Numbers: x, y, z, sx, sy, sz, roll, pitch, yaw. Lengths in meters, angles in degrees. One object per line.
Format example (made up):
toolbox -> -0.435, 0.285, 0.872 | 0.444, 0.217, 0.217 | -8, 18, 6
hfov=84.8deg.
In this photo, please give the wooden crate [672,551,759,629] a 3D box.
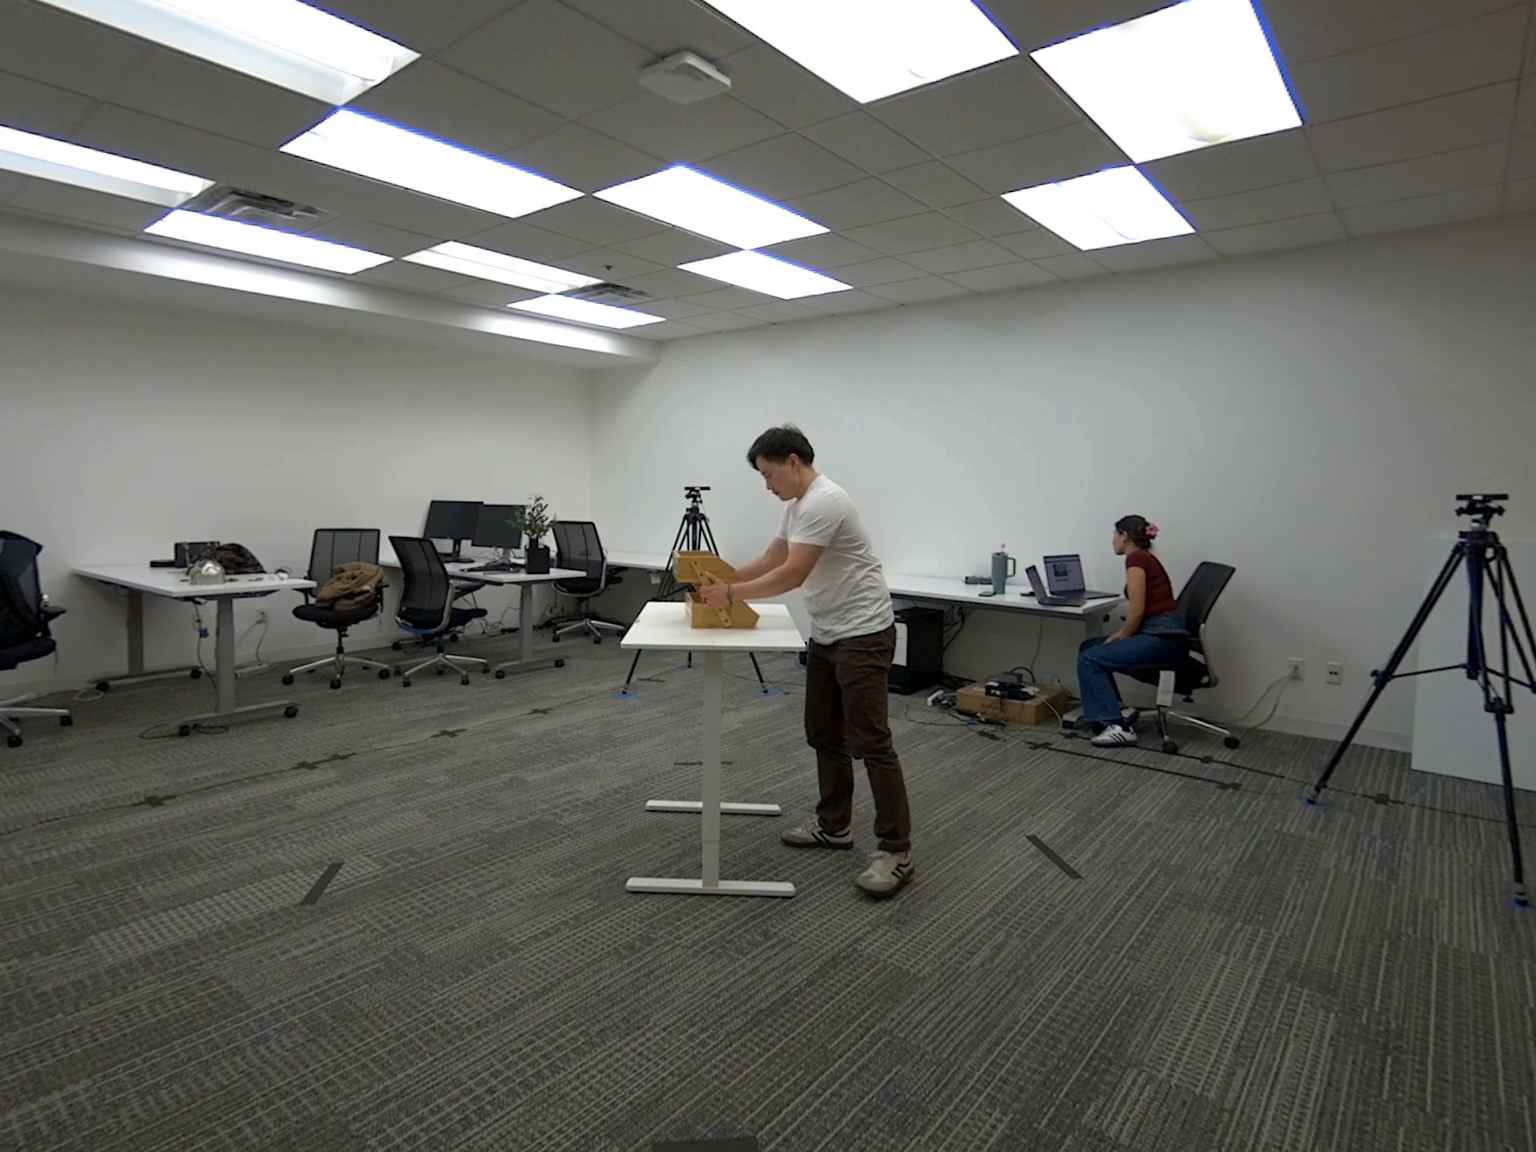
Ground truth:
wooden crate -> -0.205, 0.043, 3.227 | 0.300, 0.272, 0.328 | 0, 4, -8
